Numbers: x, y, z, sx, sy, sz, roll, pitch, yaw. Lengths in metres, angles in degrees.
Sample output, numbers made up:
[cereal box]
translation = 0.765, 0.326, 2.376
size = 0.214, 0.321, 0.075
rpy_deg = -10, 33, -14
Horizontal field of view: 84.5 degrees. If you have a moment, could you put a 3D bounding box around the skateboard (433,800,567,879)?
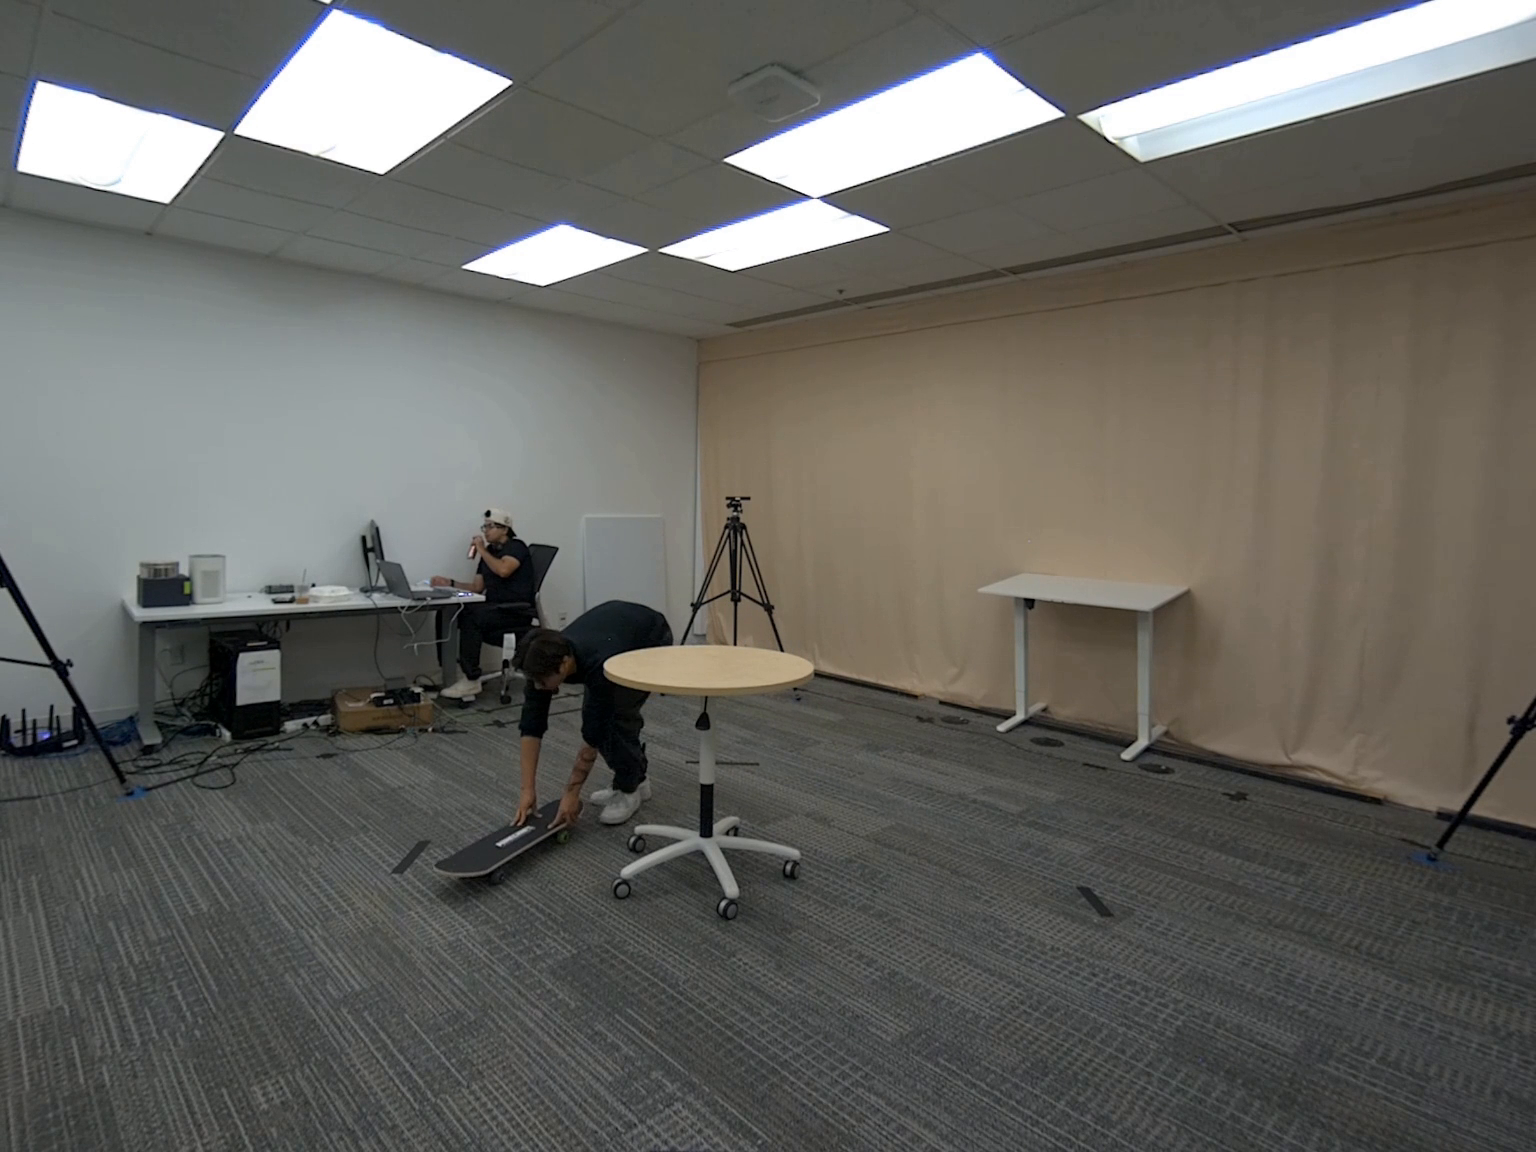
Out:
[skateboard]
translation = -0.971, 1.021, 3.209
size = 0.196, 0.110, 0.775
rpy_deg = 3, 5, 18
